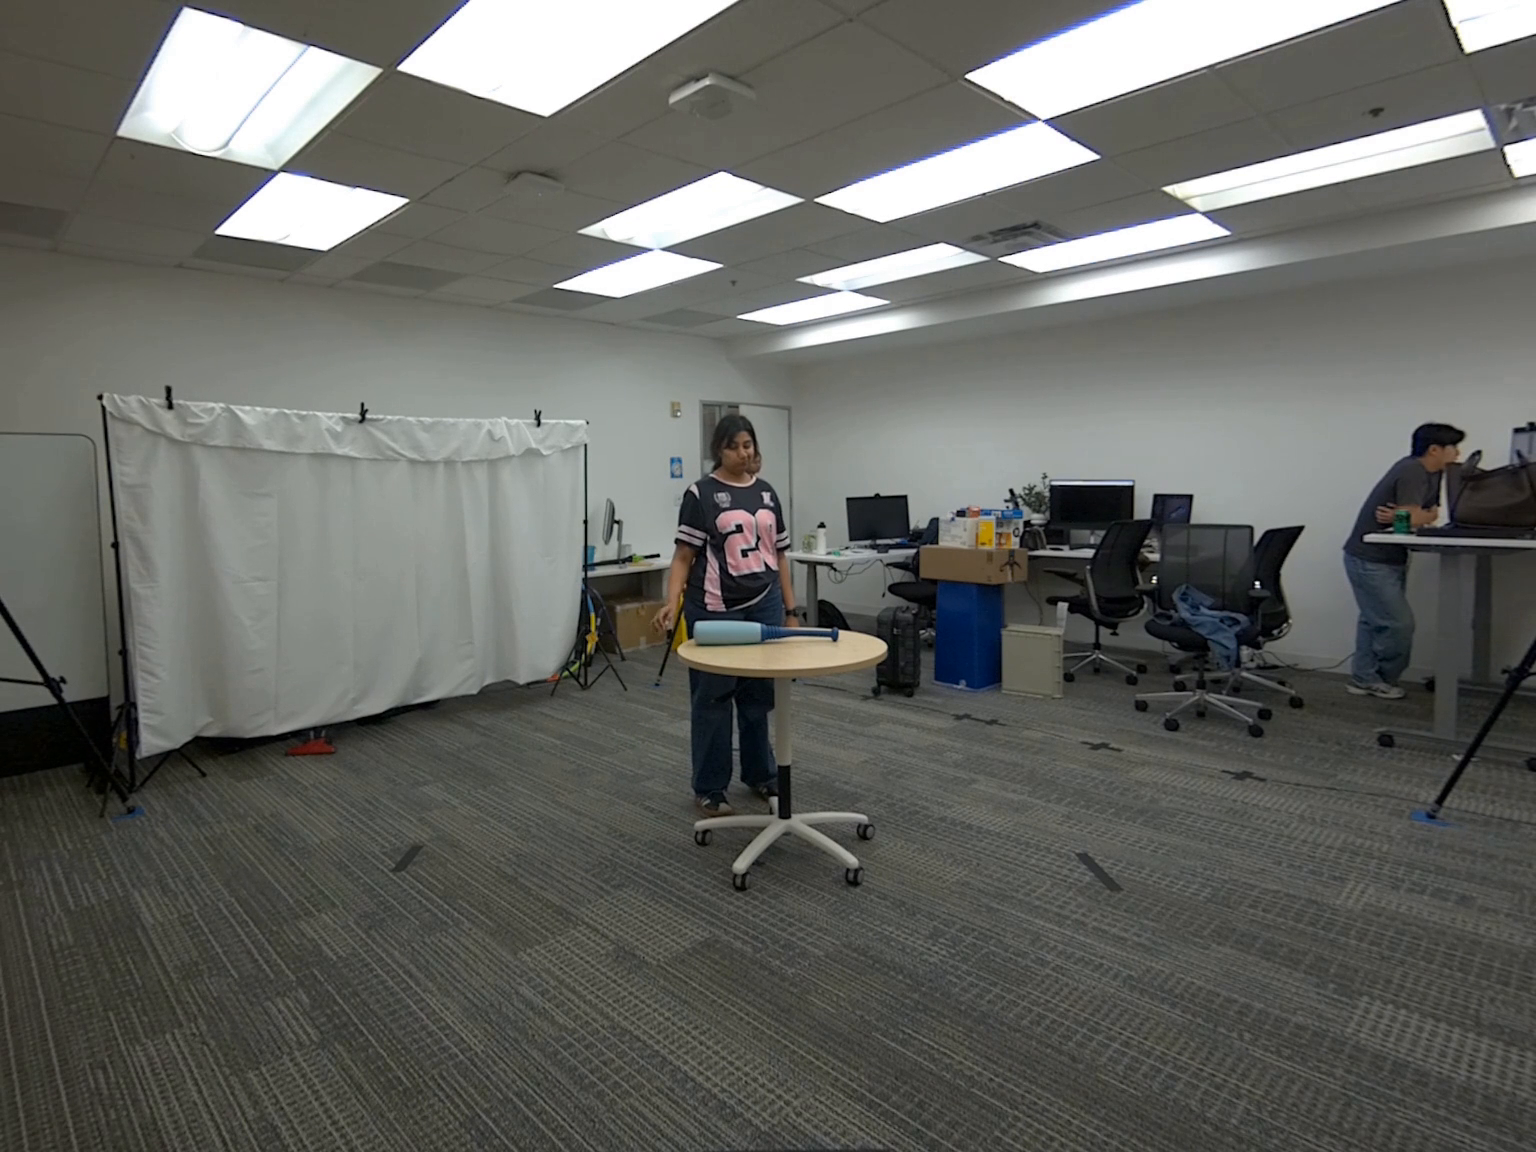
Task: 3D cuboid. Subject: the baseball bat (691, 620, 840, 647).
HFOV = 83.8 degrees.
[{"bbox_3d":[-0.008,0.219,3.204,0.541,0.089,0.089,1,5,-3],"label":"baseball bat"}]
